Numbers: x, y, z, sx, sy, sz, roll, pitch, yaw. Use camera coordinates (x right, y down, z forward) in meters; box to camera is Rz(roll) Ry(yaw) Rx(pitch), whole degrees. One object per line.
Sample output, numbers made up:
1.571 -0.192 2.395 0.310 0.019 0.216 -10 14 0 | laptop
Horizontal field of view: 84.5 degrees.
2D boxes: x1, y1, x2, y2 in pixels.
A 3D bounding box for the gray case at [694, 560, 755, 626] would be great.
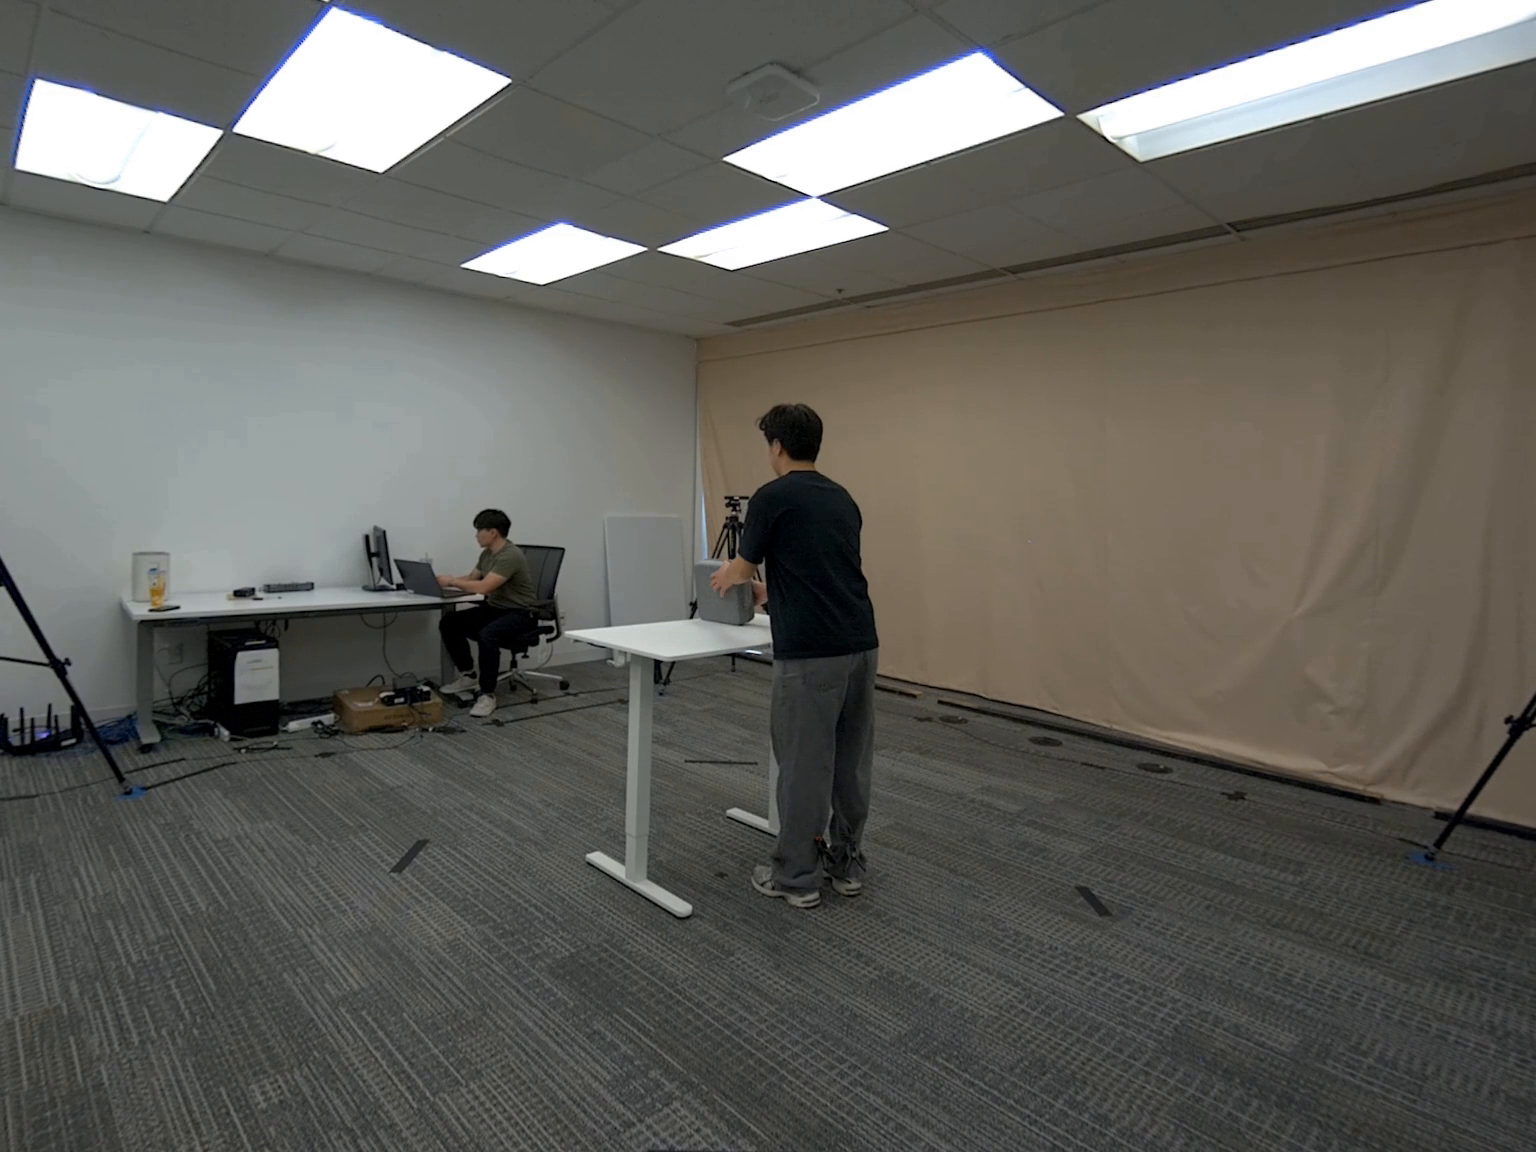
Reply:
-0.193 0.067 3.439 0.102 0.255 0.267 -13 11 -42 | gray case
